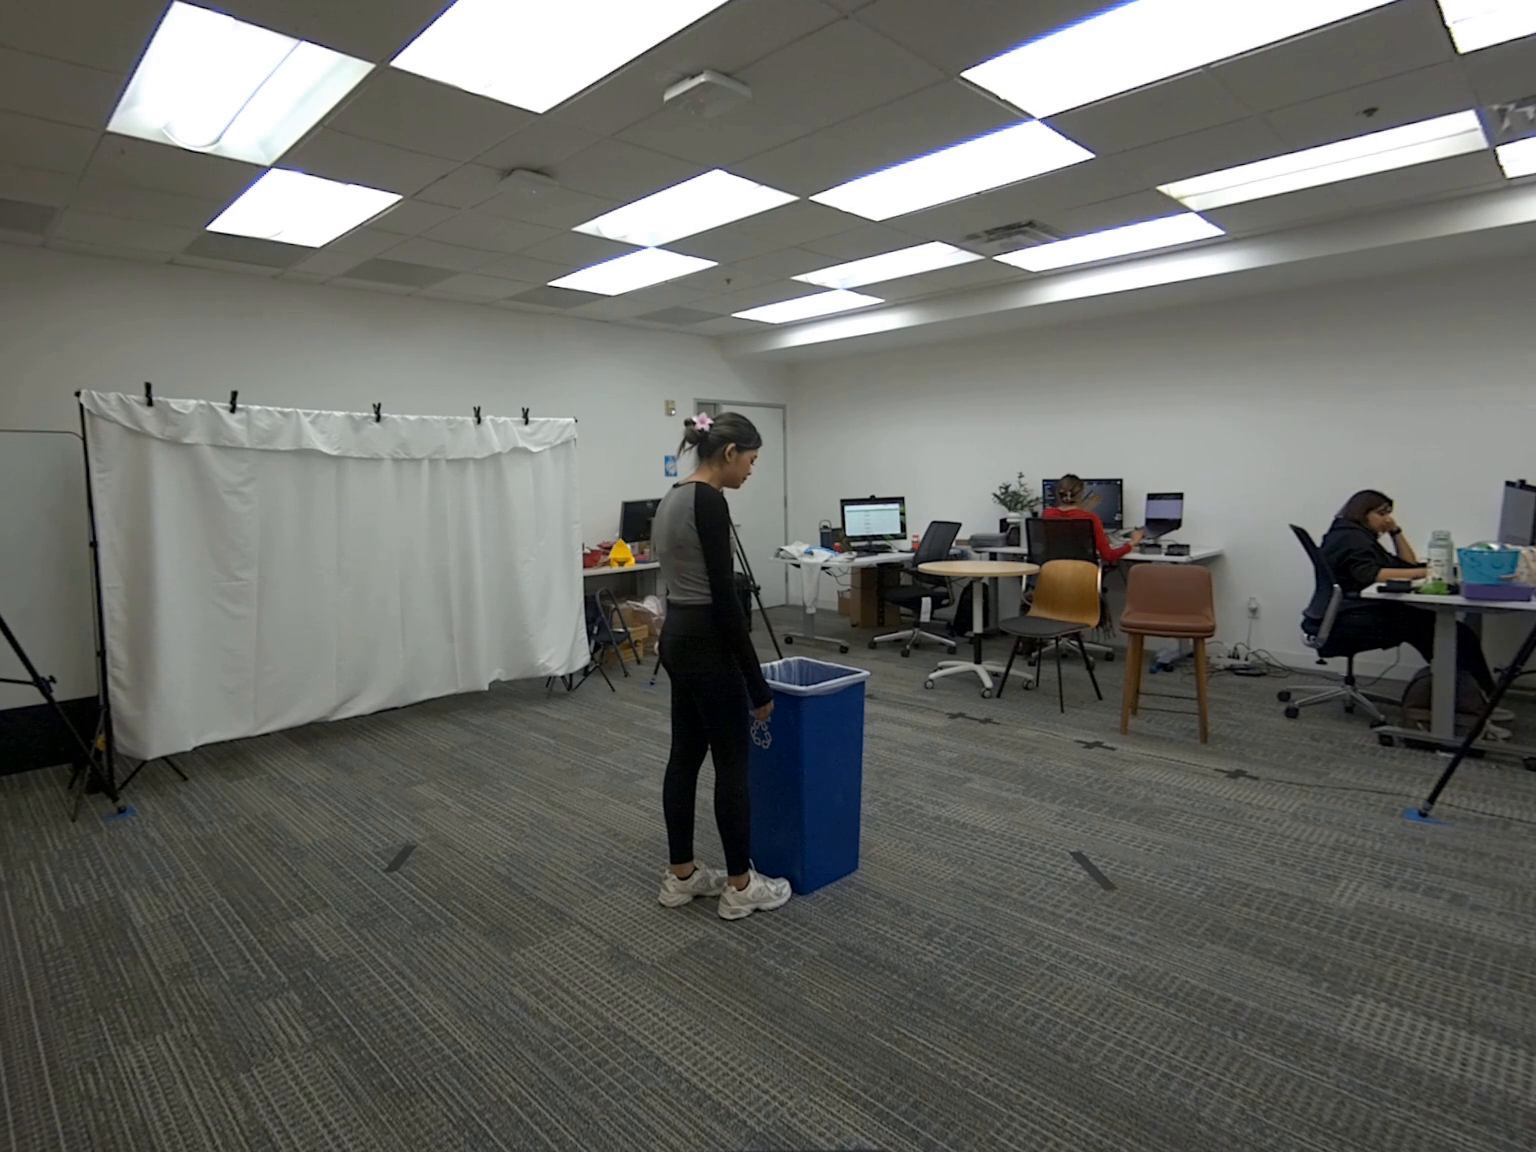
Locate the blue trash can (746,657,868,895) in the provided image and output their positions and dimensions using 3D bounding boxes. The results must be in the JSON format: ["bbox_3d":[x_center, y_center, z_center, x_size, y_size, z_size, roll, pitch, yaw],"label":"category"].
[{"bbox_3d":[0.124,0.689,3.033,0.368,0.711,0.385,-5,5,-44],"label":"blue trash can"}]
